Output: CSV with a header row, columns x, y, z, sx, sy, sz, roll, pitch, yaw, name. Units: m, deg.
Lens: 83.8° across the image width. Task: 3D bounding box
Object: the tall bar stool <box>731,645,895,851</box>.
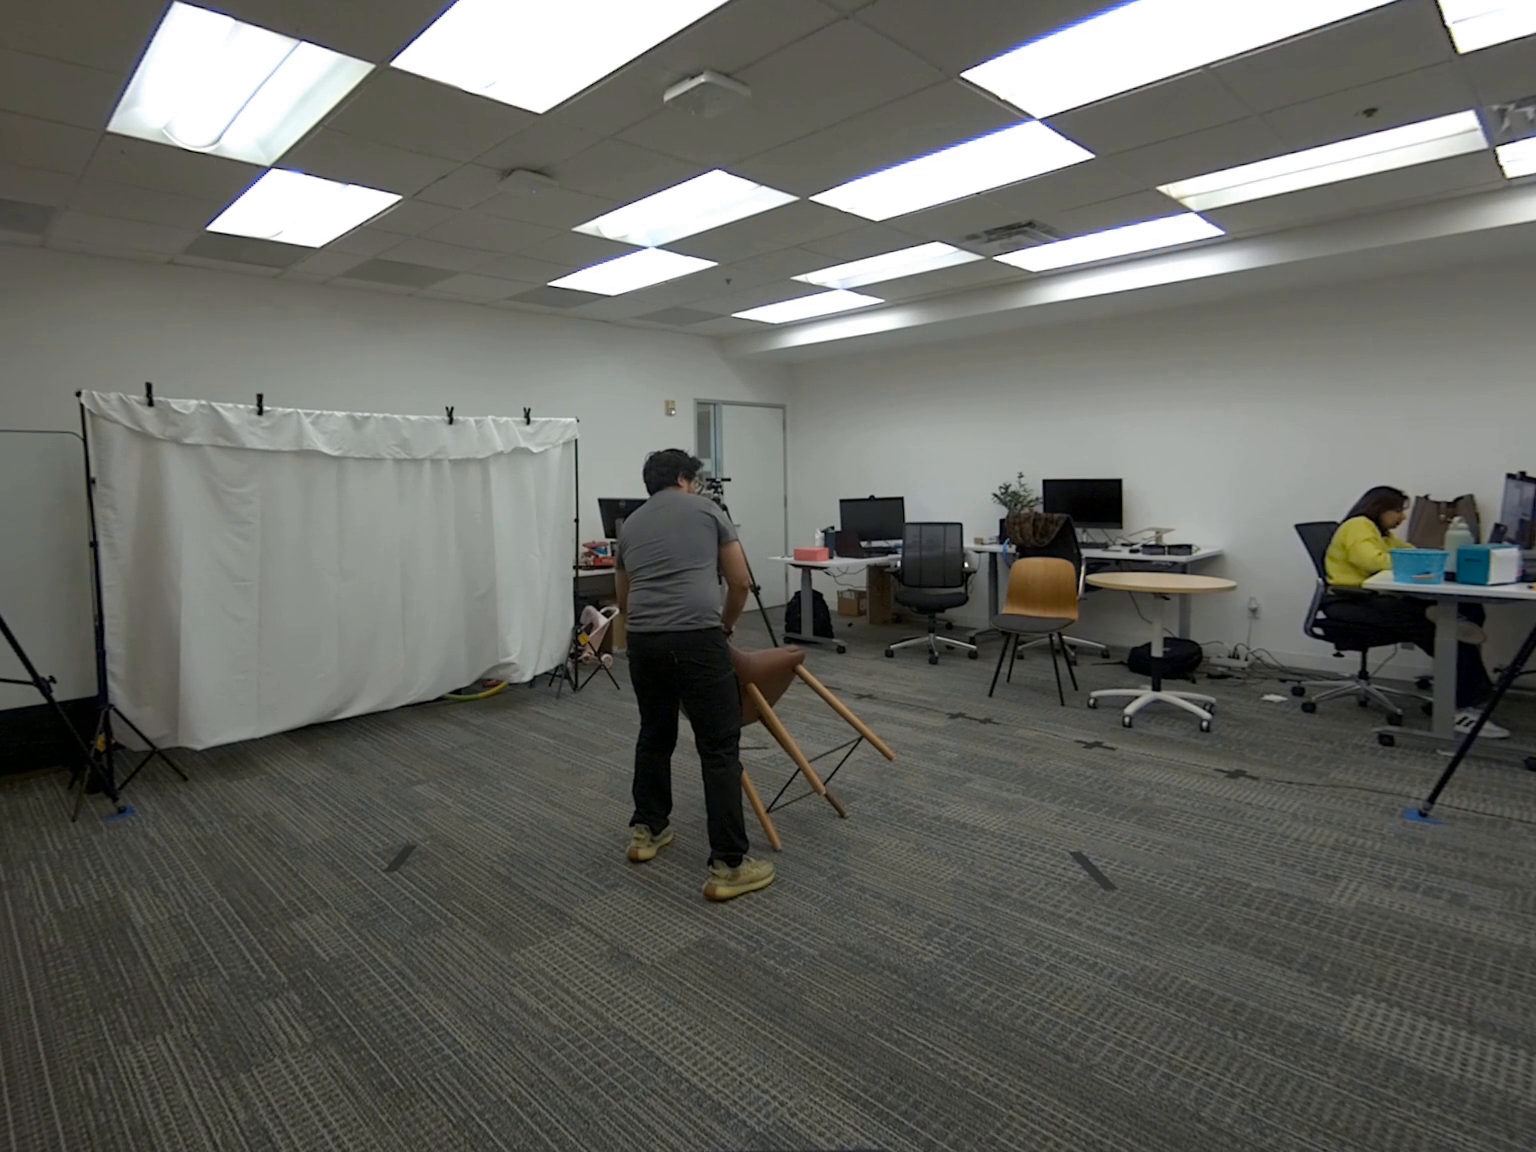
x,y,z,sx,sy,sz,roll,pitch,yaw,name
-0.004,0.577,3.476,0.456,0.453,0.919,-10,49,-47,tall bar stool
